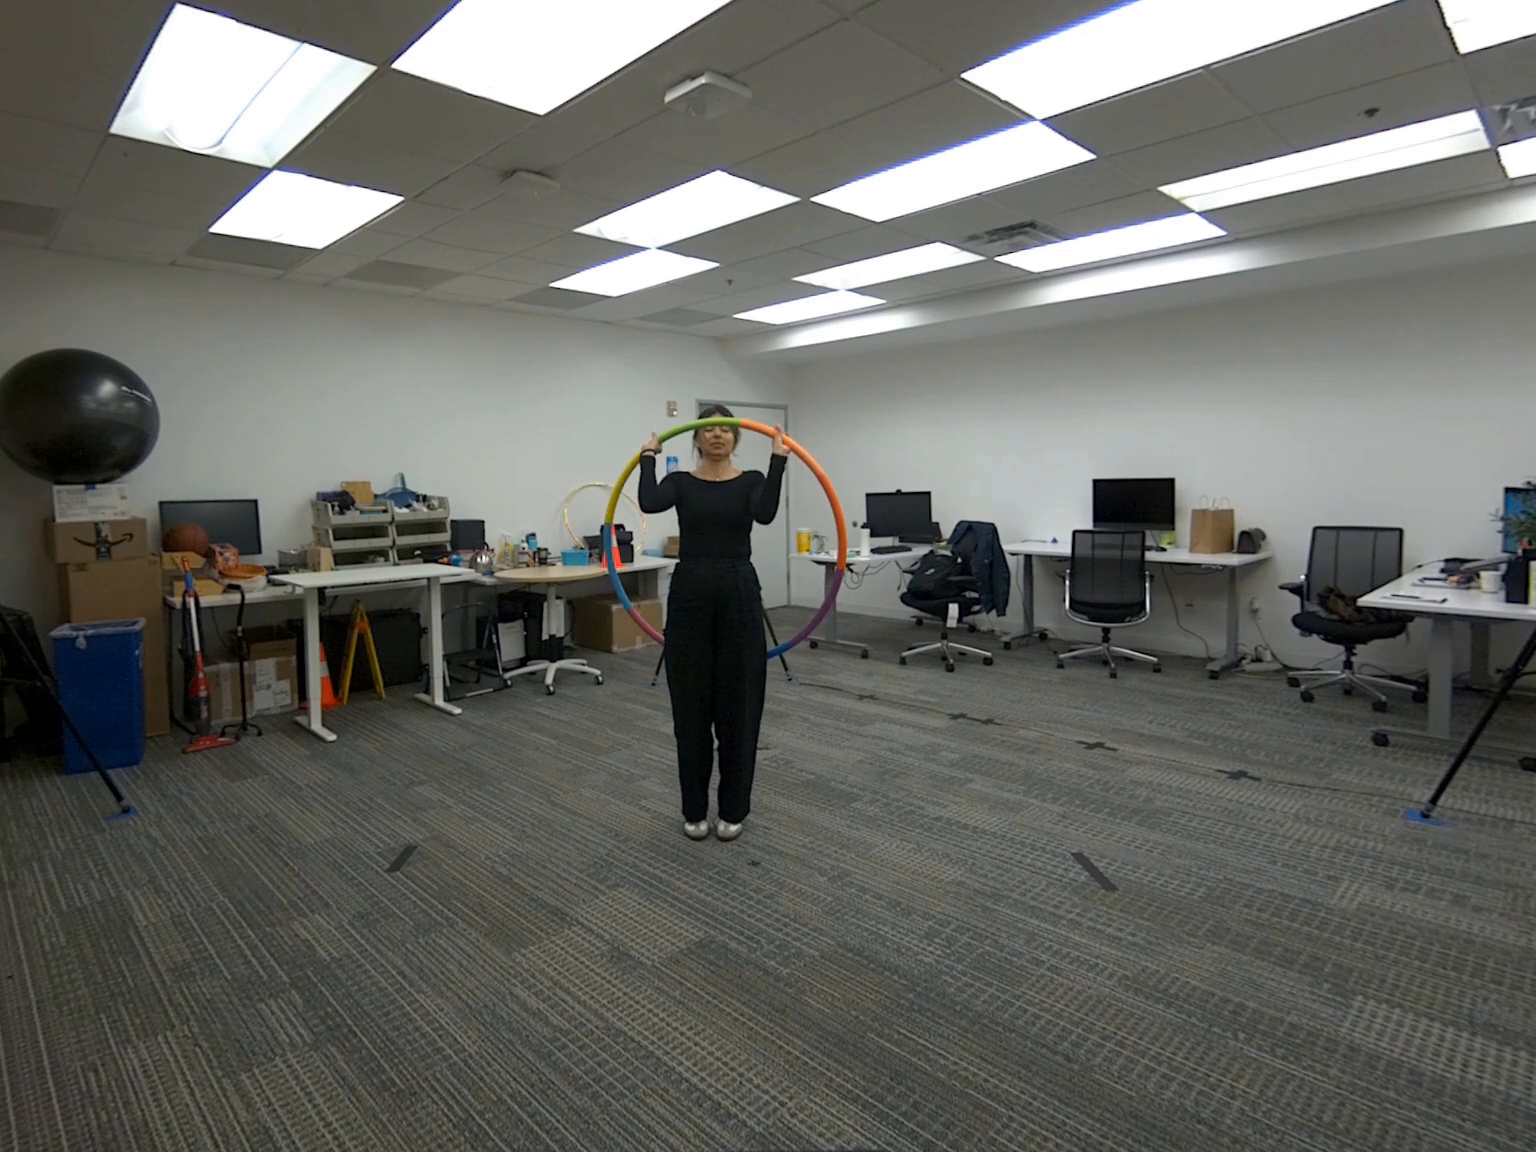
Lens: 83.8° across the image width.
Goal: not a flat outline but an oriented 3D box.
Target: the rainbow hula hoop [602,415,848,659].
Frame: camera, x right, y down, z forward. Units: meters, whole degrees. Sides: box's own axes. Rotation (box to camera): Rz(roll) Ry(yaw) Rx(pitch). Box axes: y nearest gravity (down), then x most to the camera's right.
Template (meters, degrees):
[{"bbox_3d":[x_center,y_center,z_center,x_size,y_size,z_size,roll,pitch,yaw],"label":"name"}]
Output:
[{"bbox_3d":[-0.177,-0.131,3.369,0.992,0.970,0.035,0,9,14],"label":"rainbow hula hoop"}]
